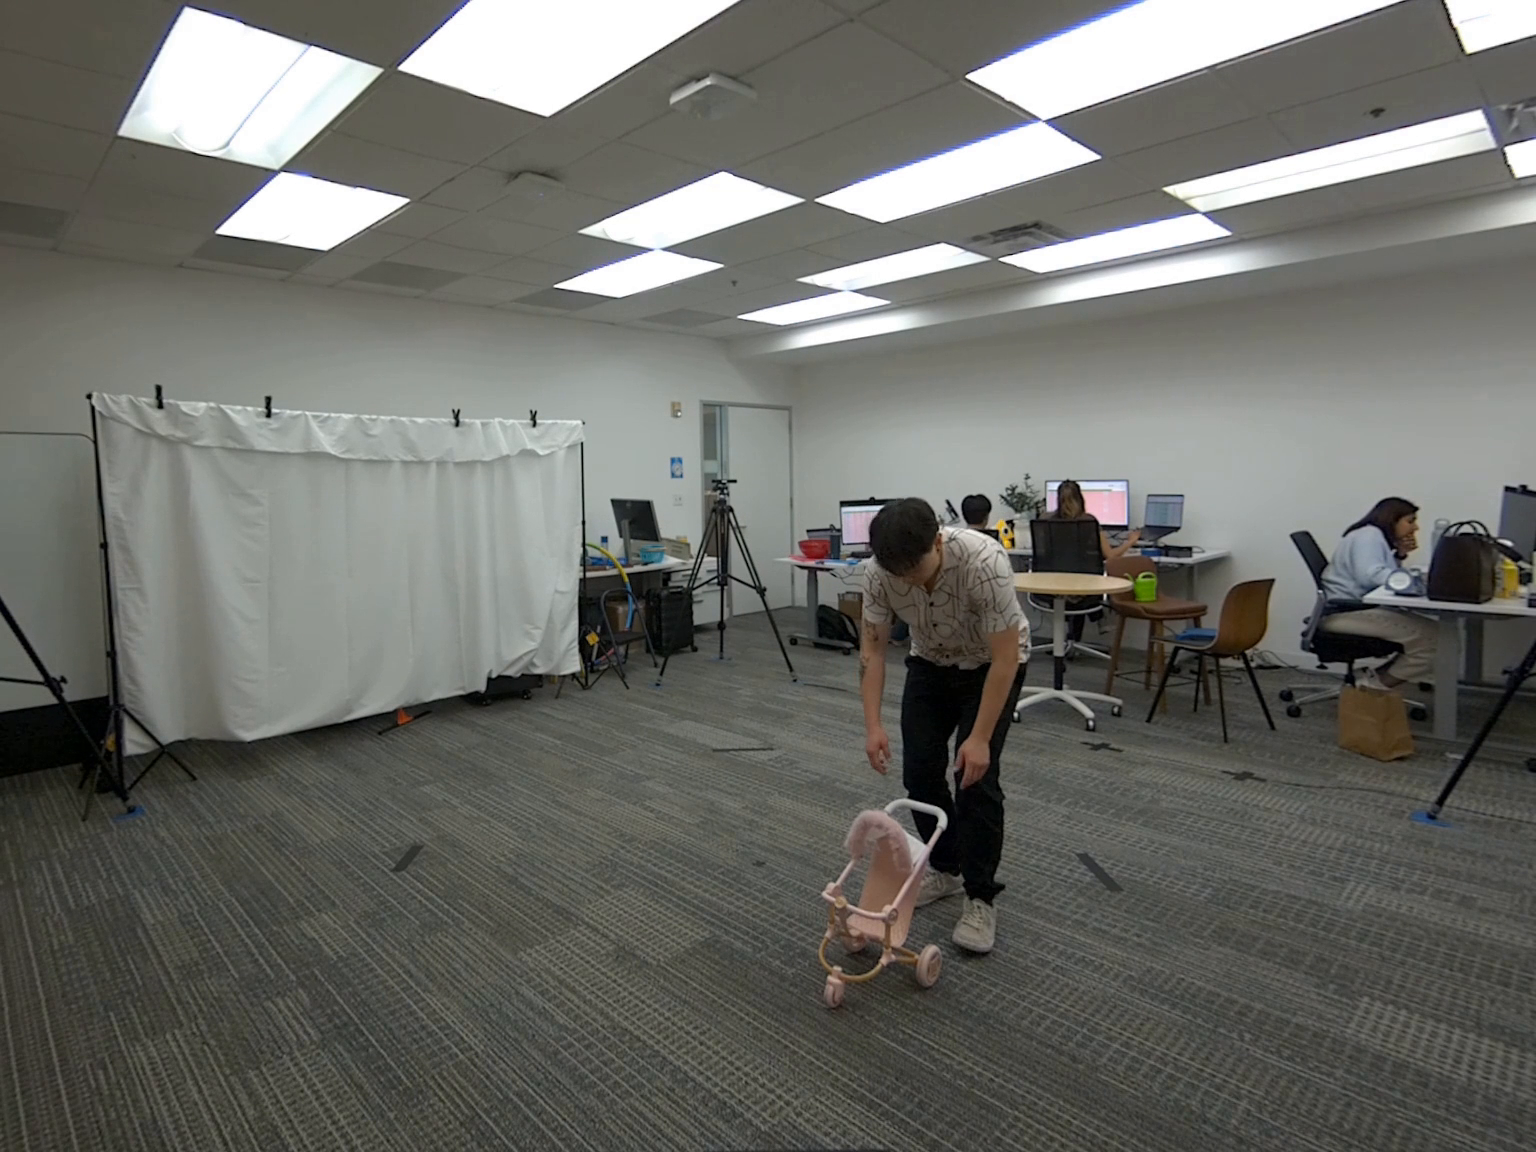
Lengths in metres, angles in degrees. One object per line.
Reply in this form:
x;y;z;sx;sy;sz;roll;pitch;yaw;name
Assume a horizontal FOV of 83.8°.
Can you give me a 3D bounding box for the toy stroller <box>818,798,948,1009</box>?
0.307;0.898;2.384;0.329;0.538;0.290;16;-9;-40;toy stroller
